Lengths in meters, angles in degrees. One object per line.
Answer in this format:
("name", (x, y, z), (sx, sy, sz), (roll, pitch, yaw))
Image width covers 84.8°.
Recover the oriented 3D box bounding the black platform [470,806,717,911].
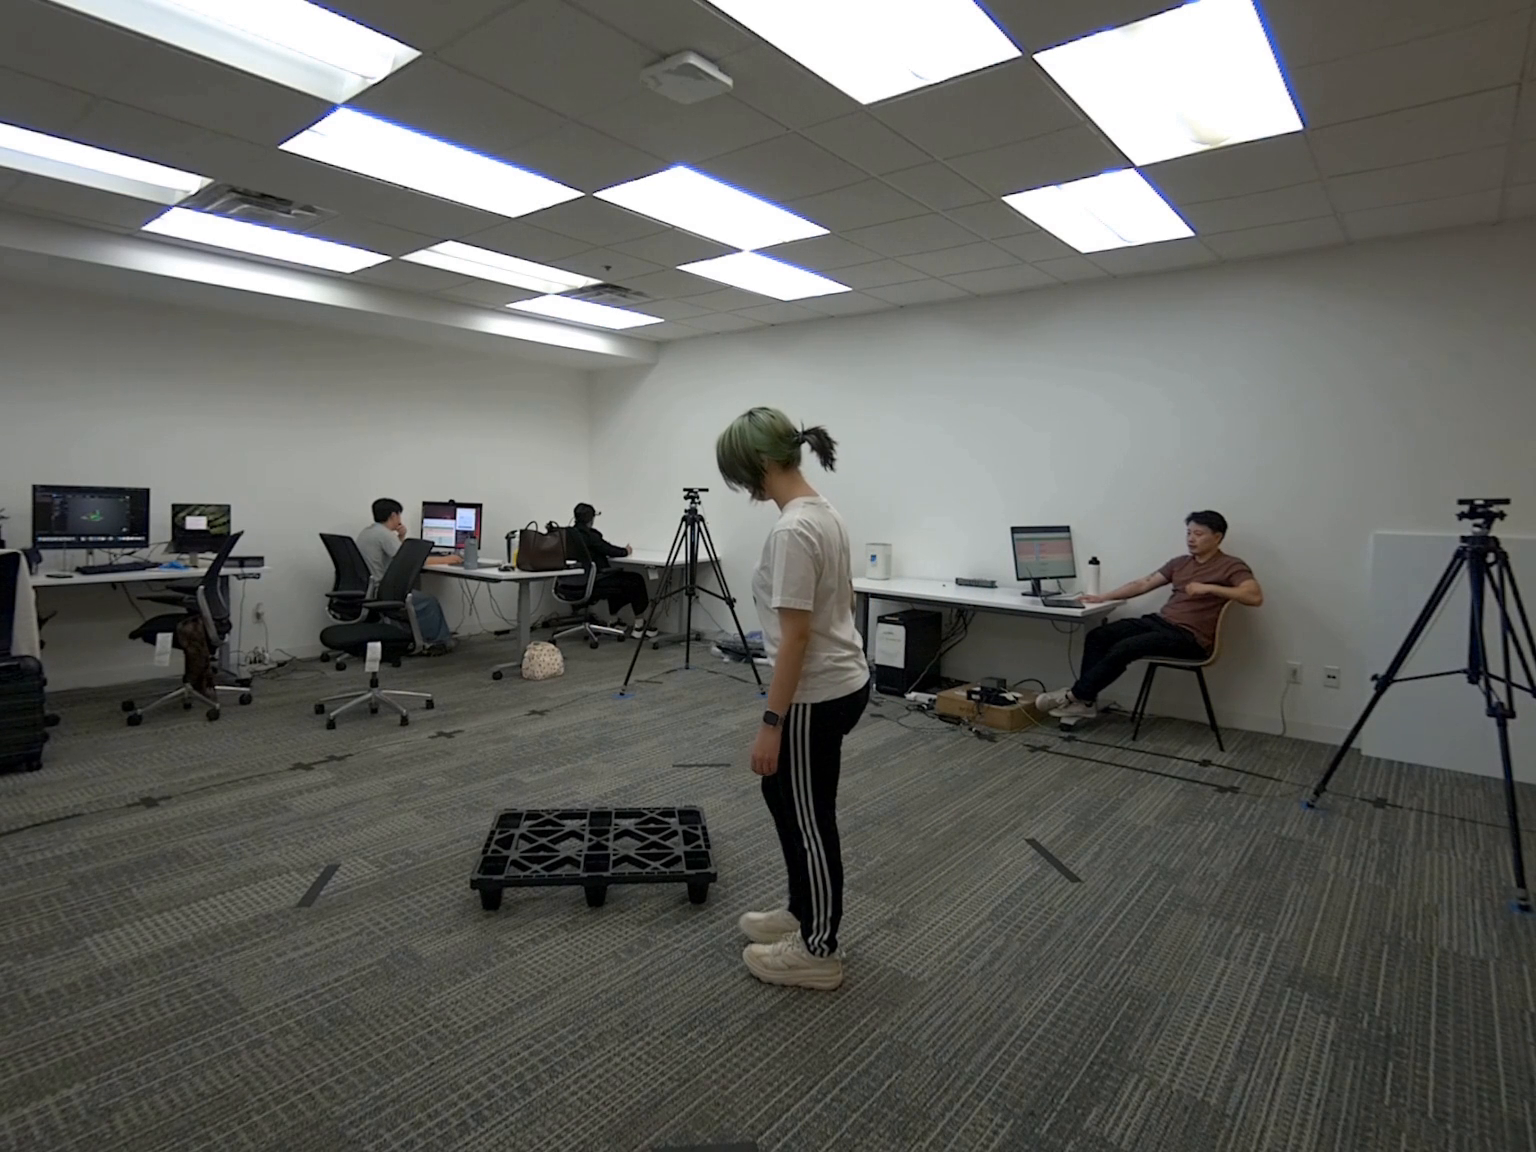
("black platform", (-0.612, 1.000, 3.039), (0.800, 0.143, 0.612), (0, 6, -7))
